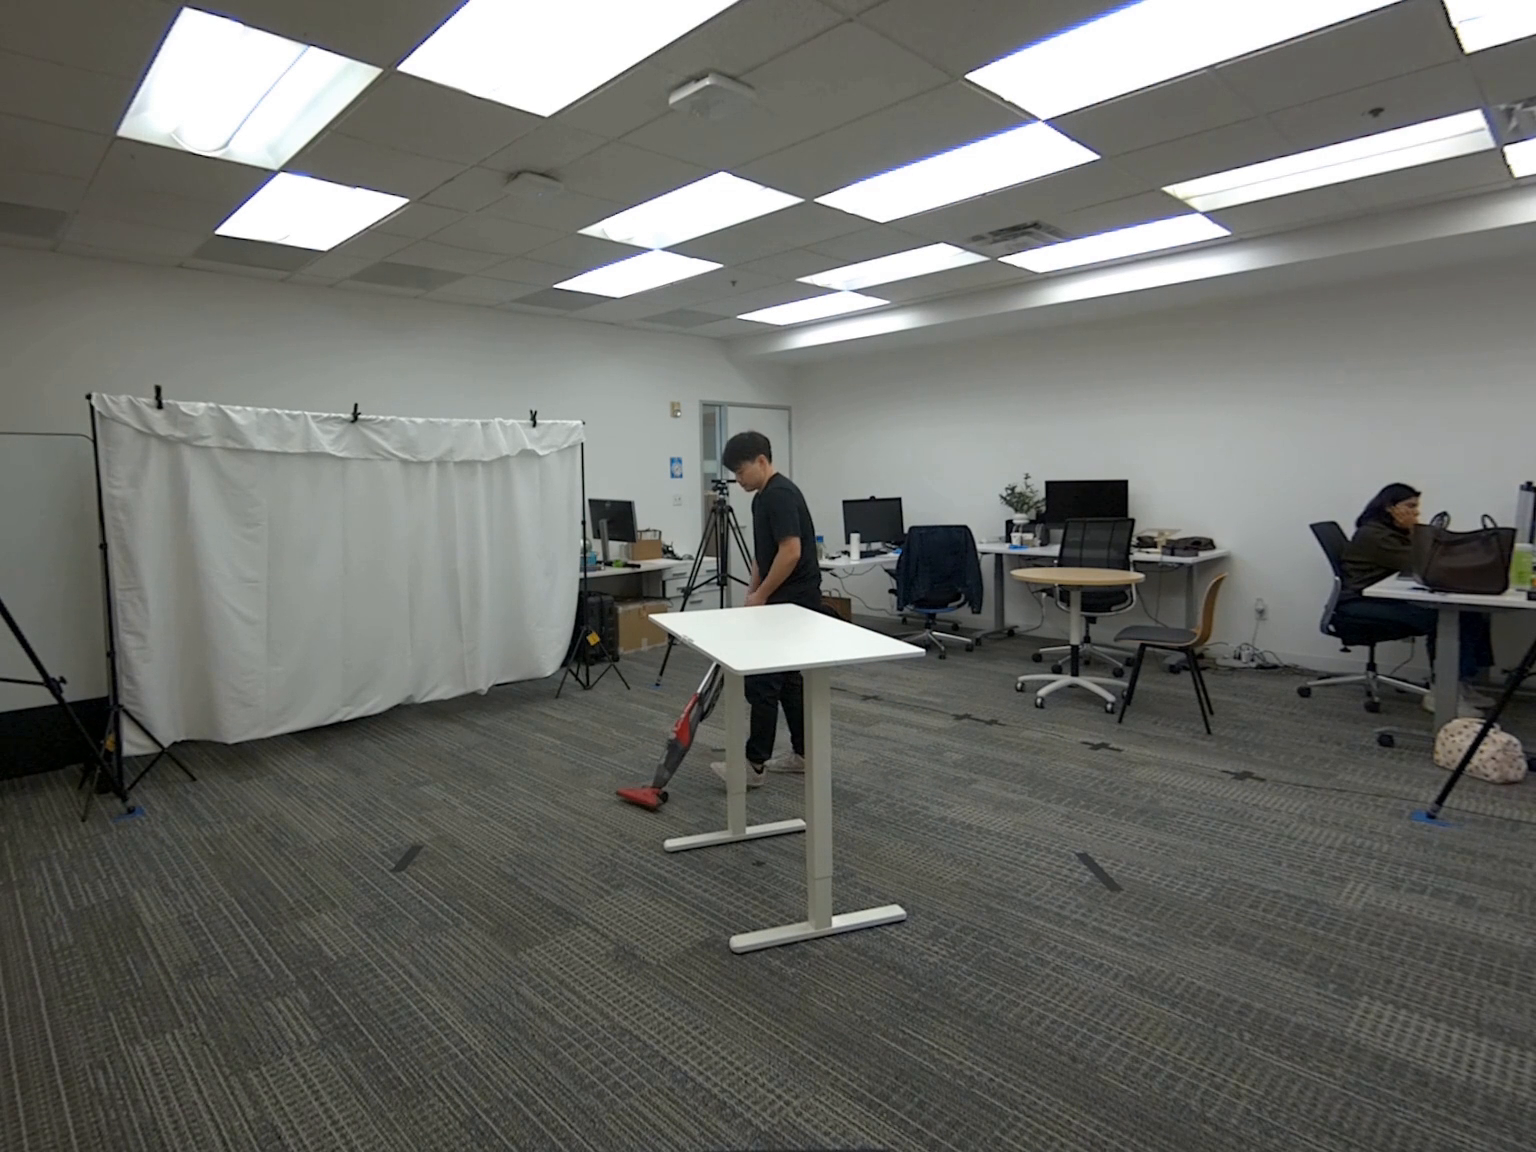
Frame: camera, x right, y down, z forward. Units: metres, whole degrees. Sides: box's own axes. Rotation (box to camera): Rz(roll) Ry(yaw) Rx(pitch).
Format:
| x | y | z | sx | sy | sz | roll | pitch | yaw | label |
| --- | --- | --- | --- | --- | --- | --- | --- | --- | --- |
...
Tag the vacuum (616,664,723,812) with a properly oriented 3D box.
| x | y | z | sx | sy | sz | roll | pitch | yaw | label |
| --- | --- | --- | --- | --- | --- | --- | --- | --- | --- |
| -0.318 | 0.581 | 3.972 | 0.260 | 1.057 | 0.139 | 5 | -39 | 35 | vacuum |
